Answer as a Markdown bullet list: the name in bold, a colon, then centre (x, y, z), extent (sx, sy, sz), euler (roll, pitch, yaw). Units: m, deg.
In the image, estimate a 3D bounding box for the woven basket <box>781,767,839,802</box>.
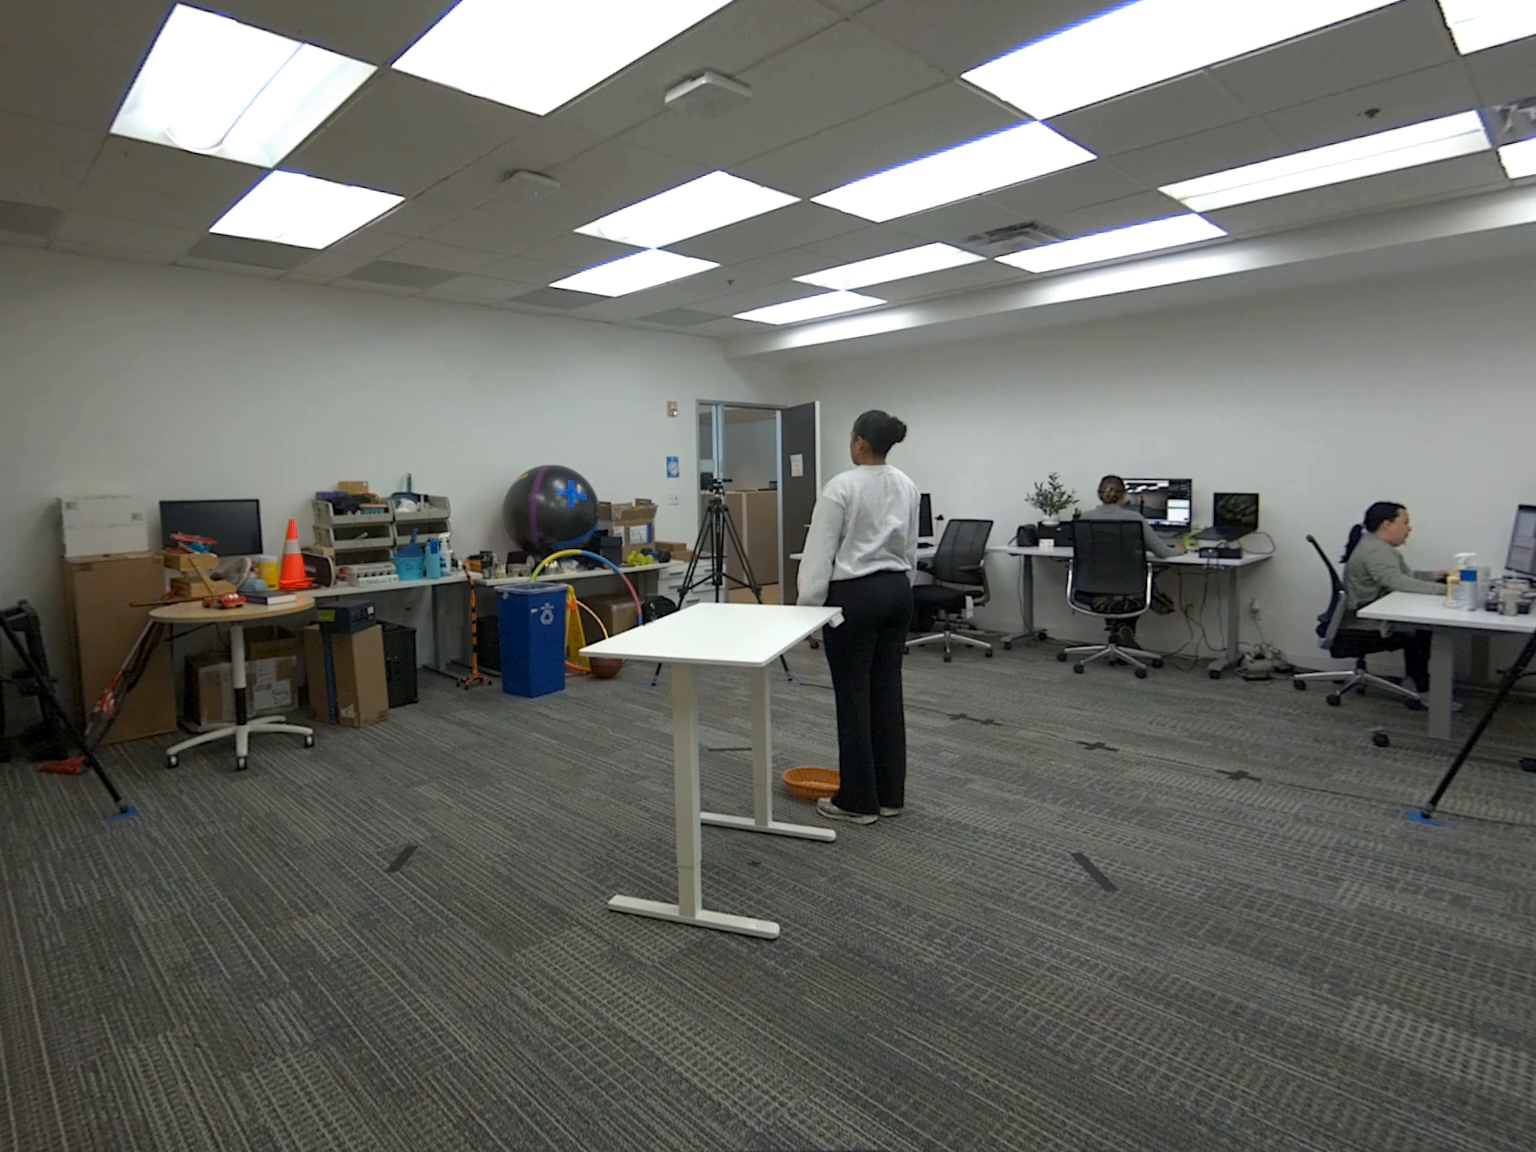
- **woven basket**: centre (0.234, 0.925, 3.792), extent (0.359, 0.073, 0.247), euler (3, 6, 28)
